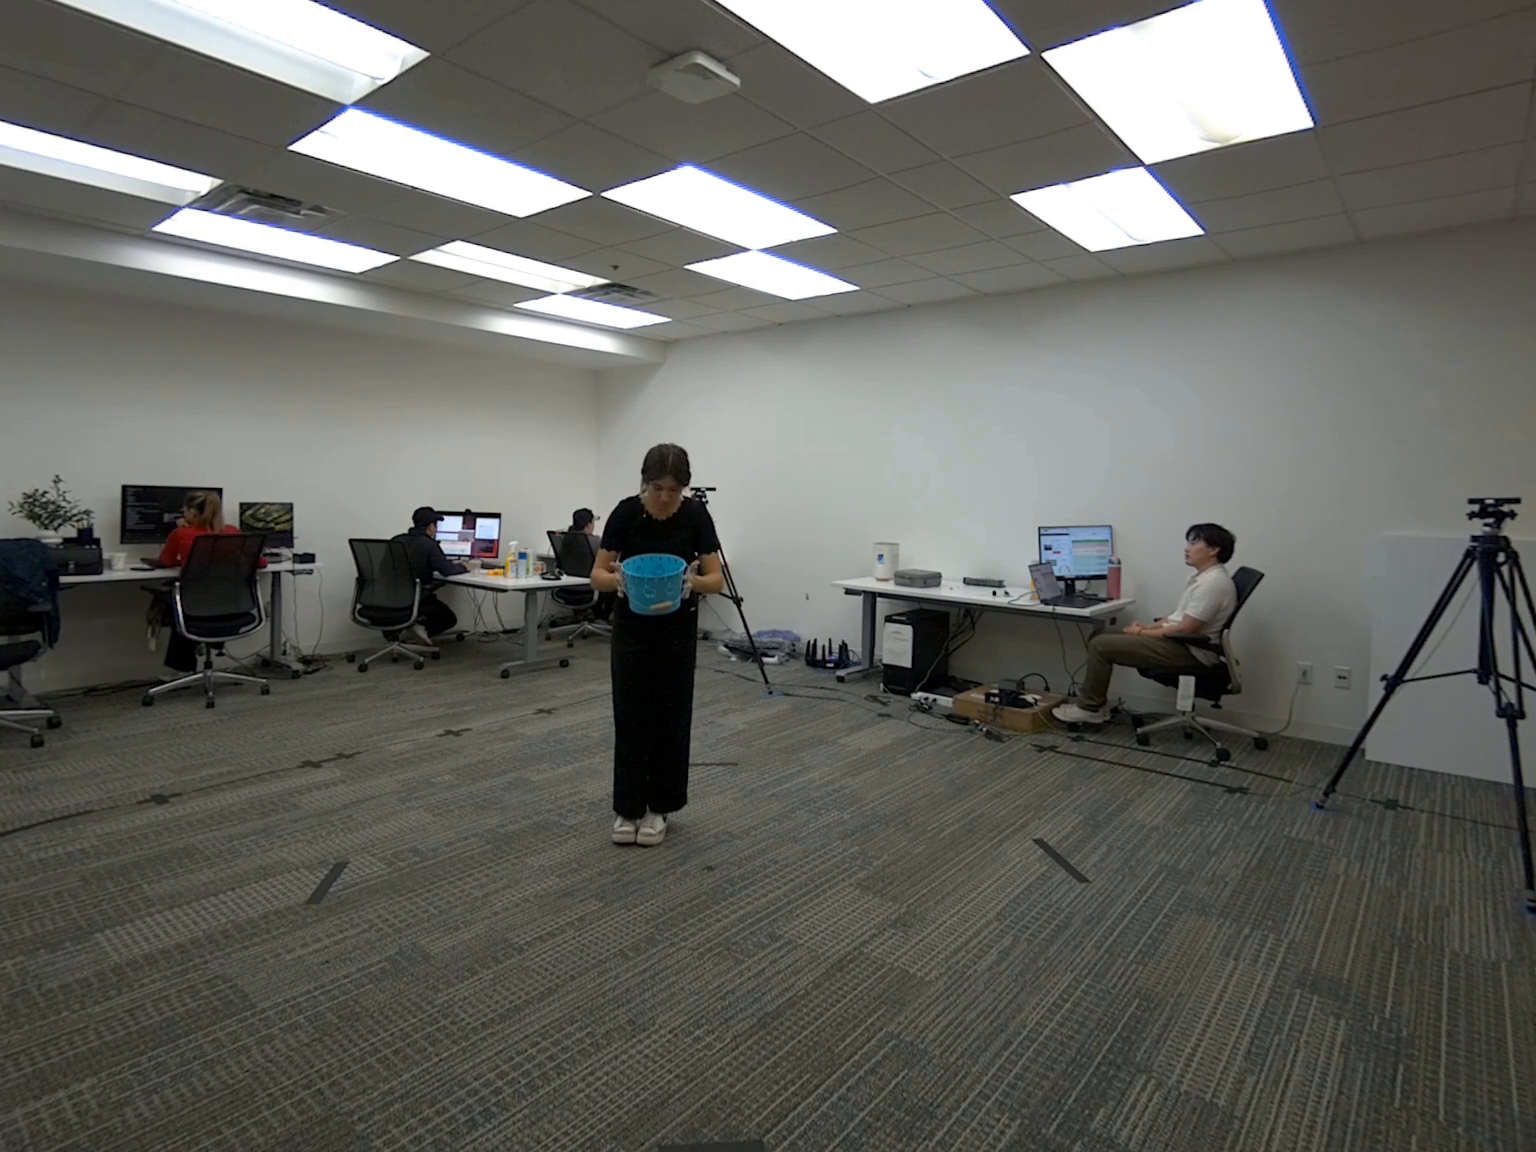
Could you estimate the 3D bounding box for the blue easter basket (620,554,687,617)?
[{"bbox_3d":[-0.426,0.032,3.022,0.243,0.153,0.248,0,17,-2],"label":"blue easter basket"}]
